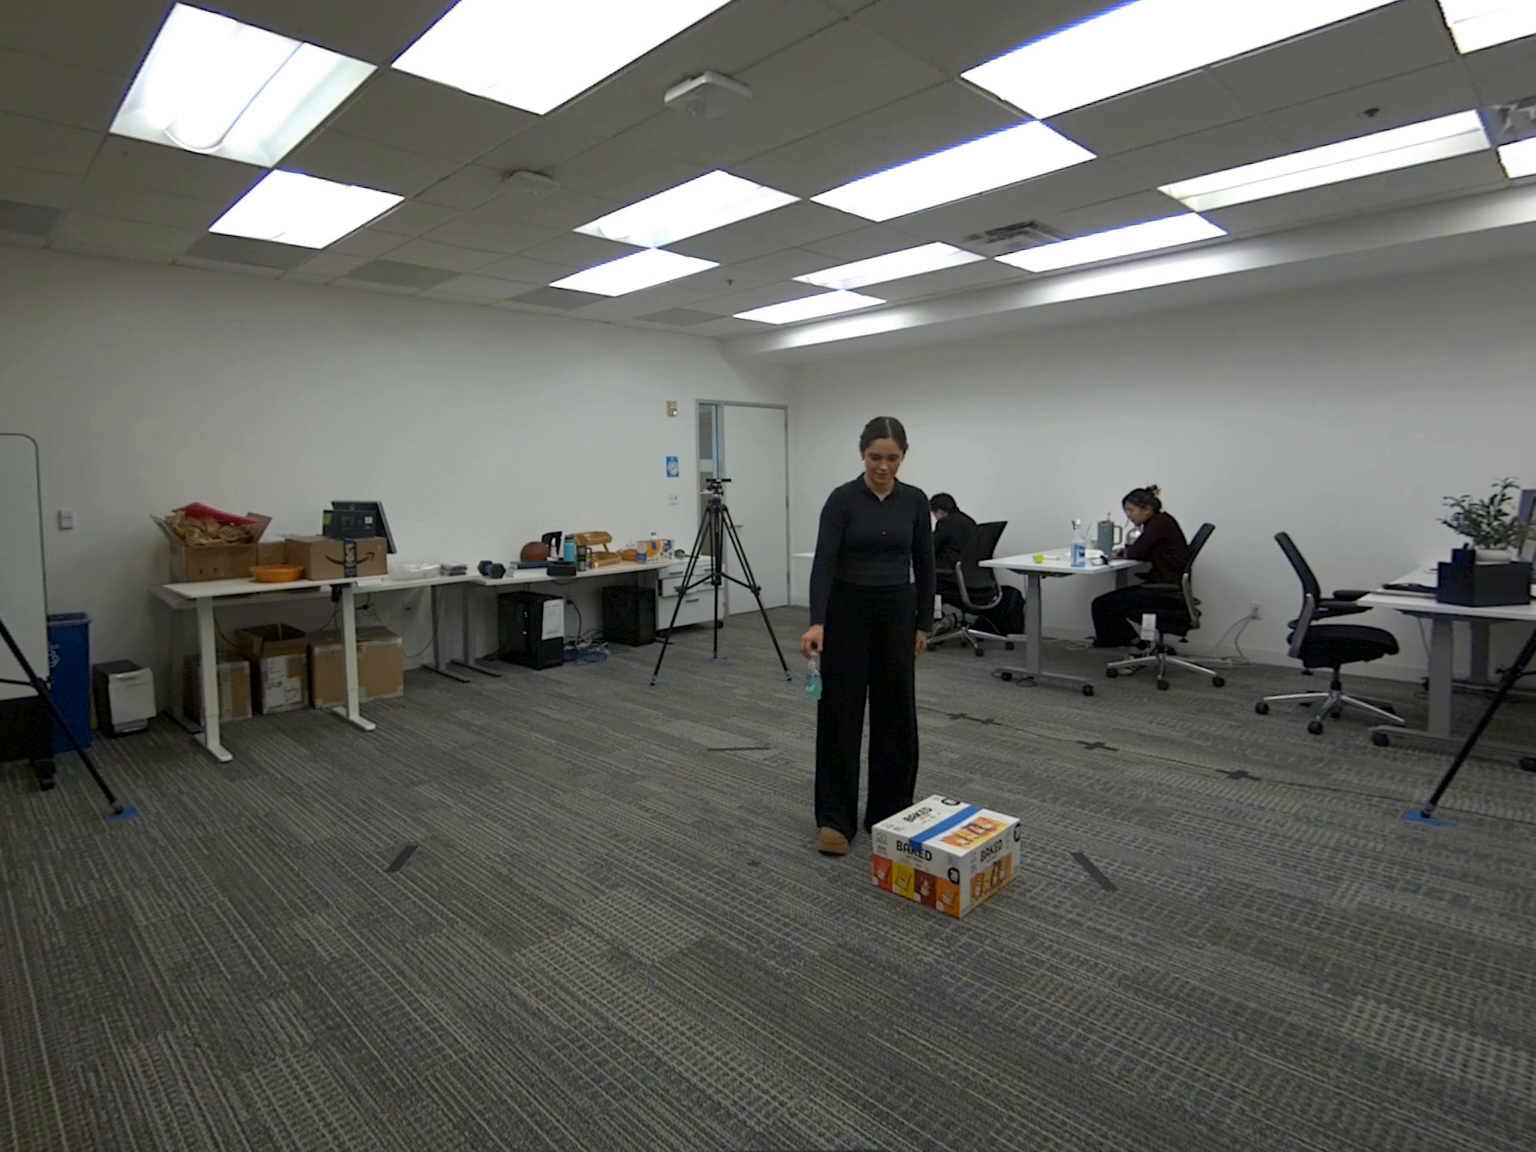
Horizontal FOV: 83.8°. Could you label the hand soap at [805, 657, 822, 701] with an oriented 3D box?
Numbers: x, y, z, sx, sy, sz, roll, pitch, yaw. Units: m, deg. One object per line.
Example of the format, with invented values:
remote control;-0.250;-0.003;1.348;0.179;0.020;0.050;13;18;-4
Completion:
hand soap;0.161;0.368;3.135;0.042;0.168;0.086;-2;0;-21
